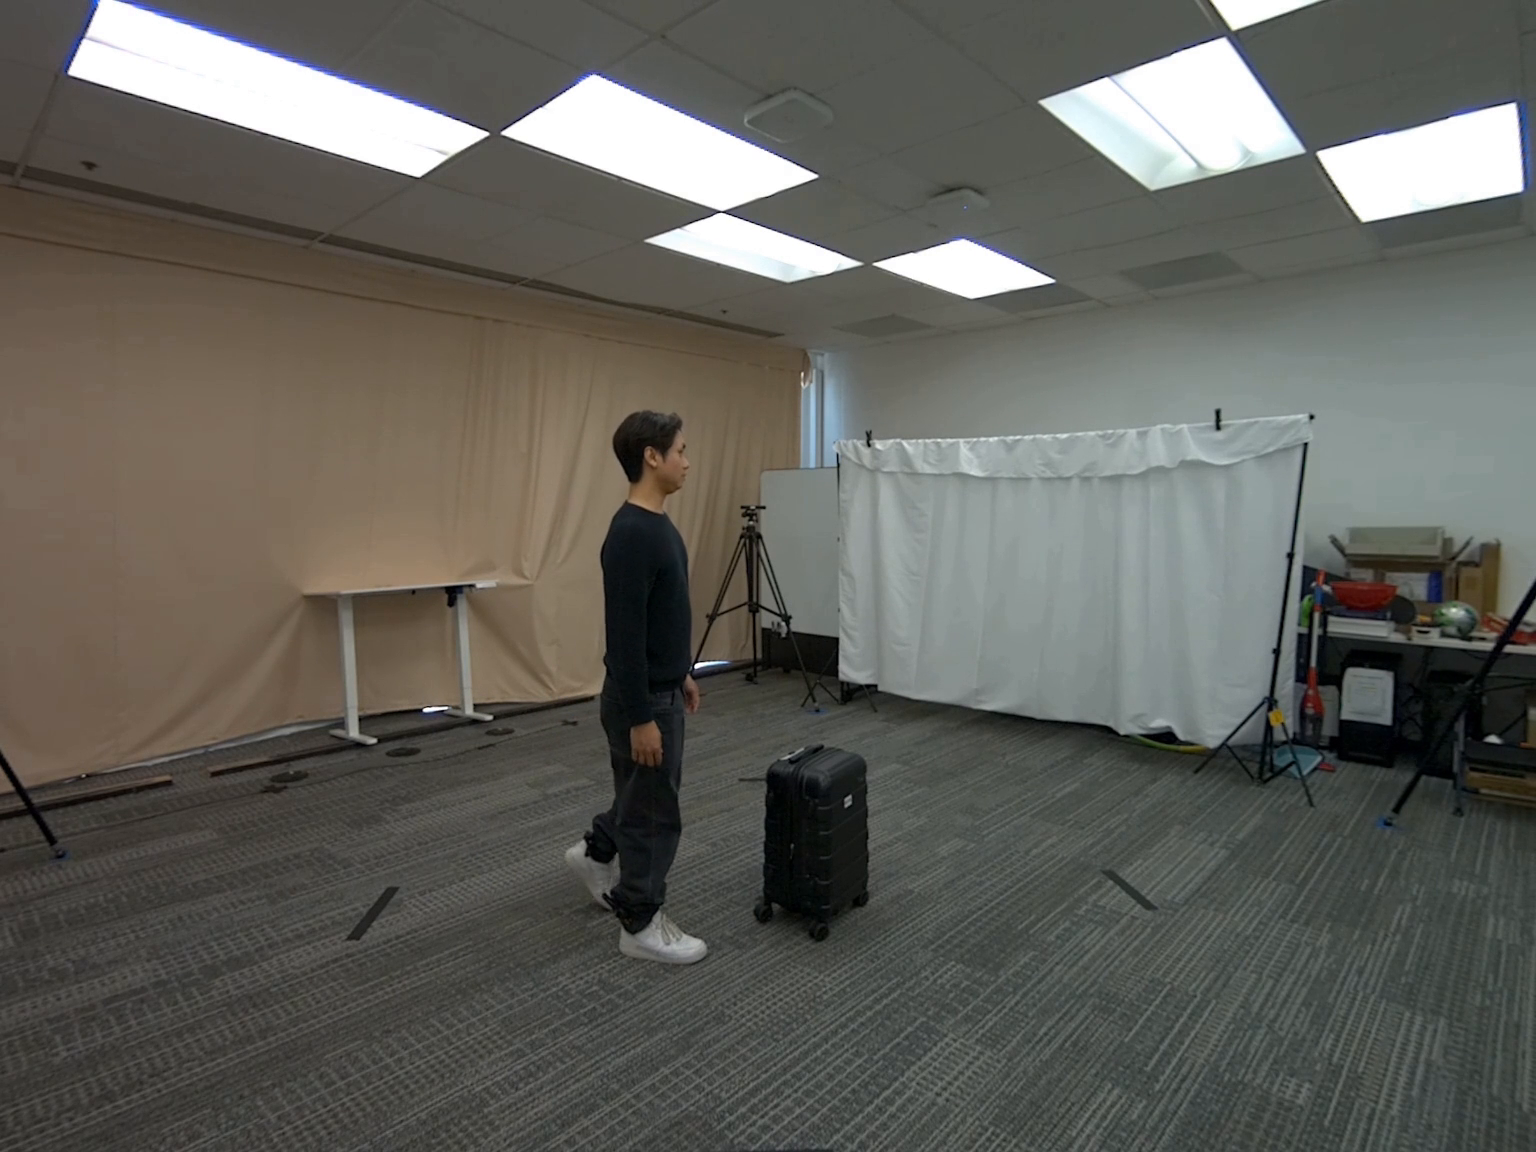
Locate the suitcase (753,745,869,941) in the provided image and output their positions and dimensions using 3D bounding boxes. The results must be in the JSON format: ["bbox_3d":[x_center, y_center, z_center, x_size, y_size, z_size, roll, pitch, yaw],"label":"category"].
[{"bbox_3d":[0.174,0.878,2.885,0.256,0.548,0.364,3,4,34],"label":"suitcase"}]
